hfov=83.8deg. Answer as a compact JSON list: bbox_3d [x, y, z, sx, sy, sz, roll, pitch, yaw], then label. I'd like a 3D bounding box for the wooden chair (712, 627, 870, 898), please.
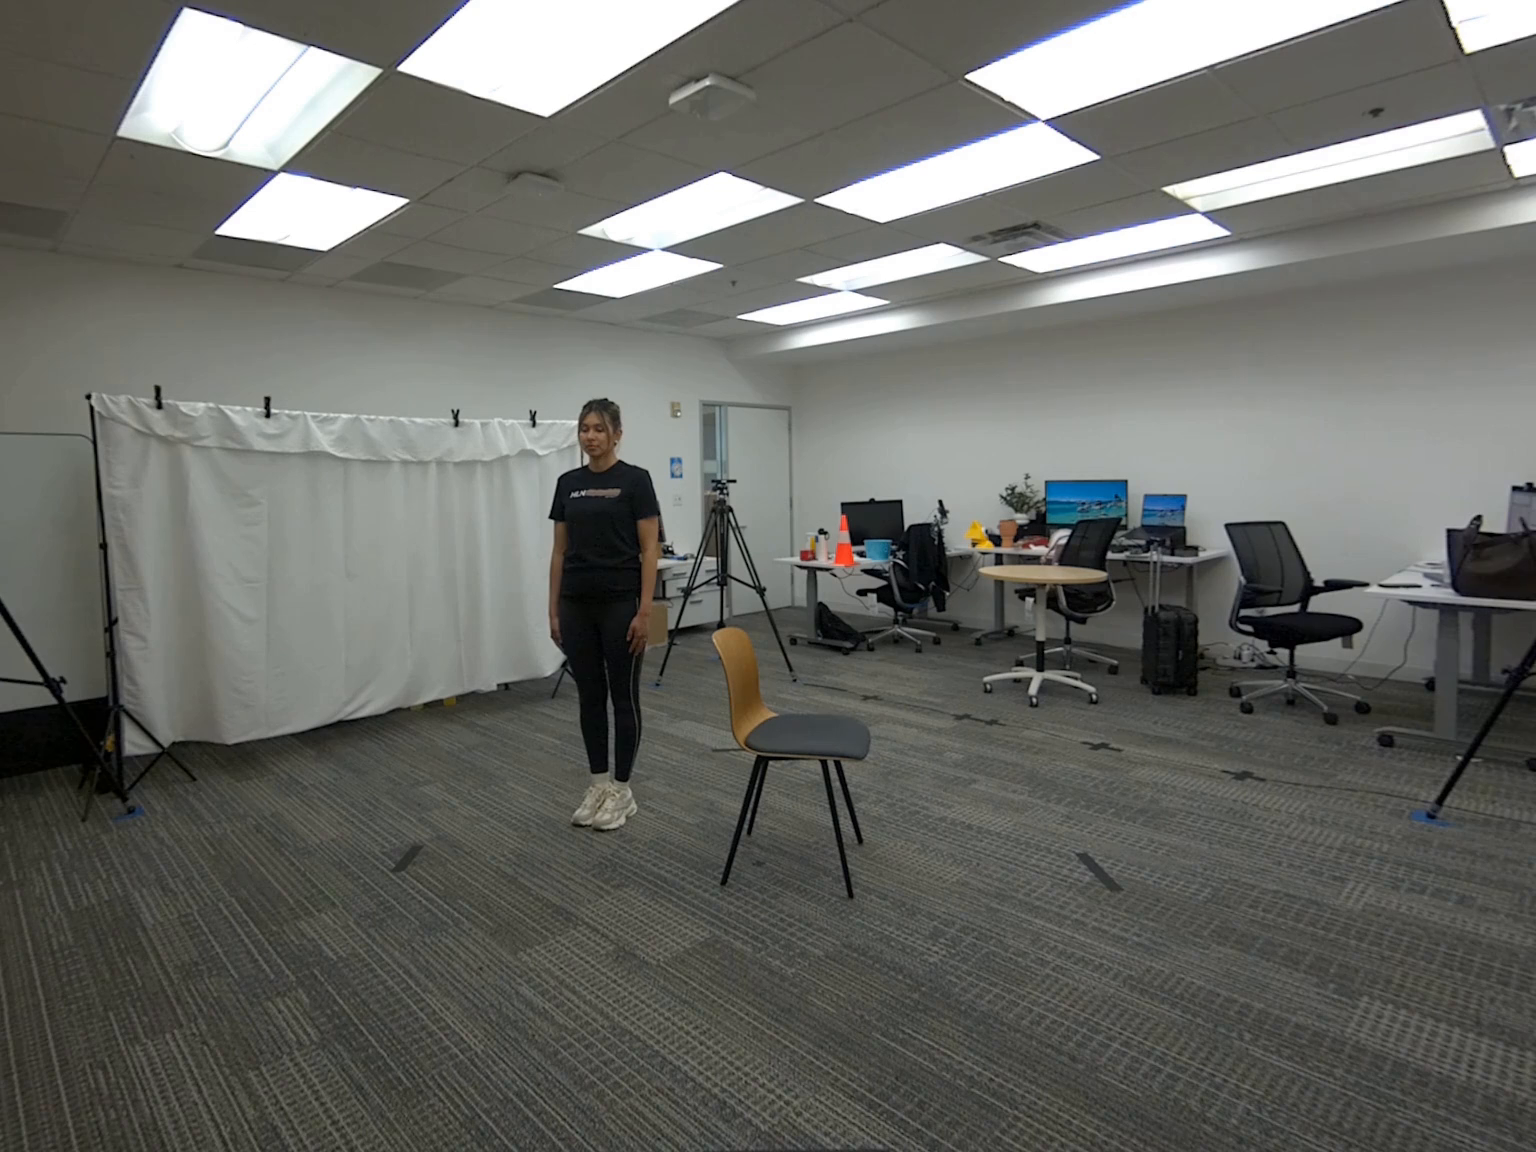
[{"bbox_3d":[0.105,0.619,3.073,0.530,0.875,0.473,-4,3,13],"label":"wooden chair"}]
